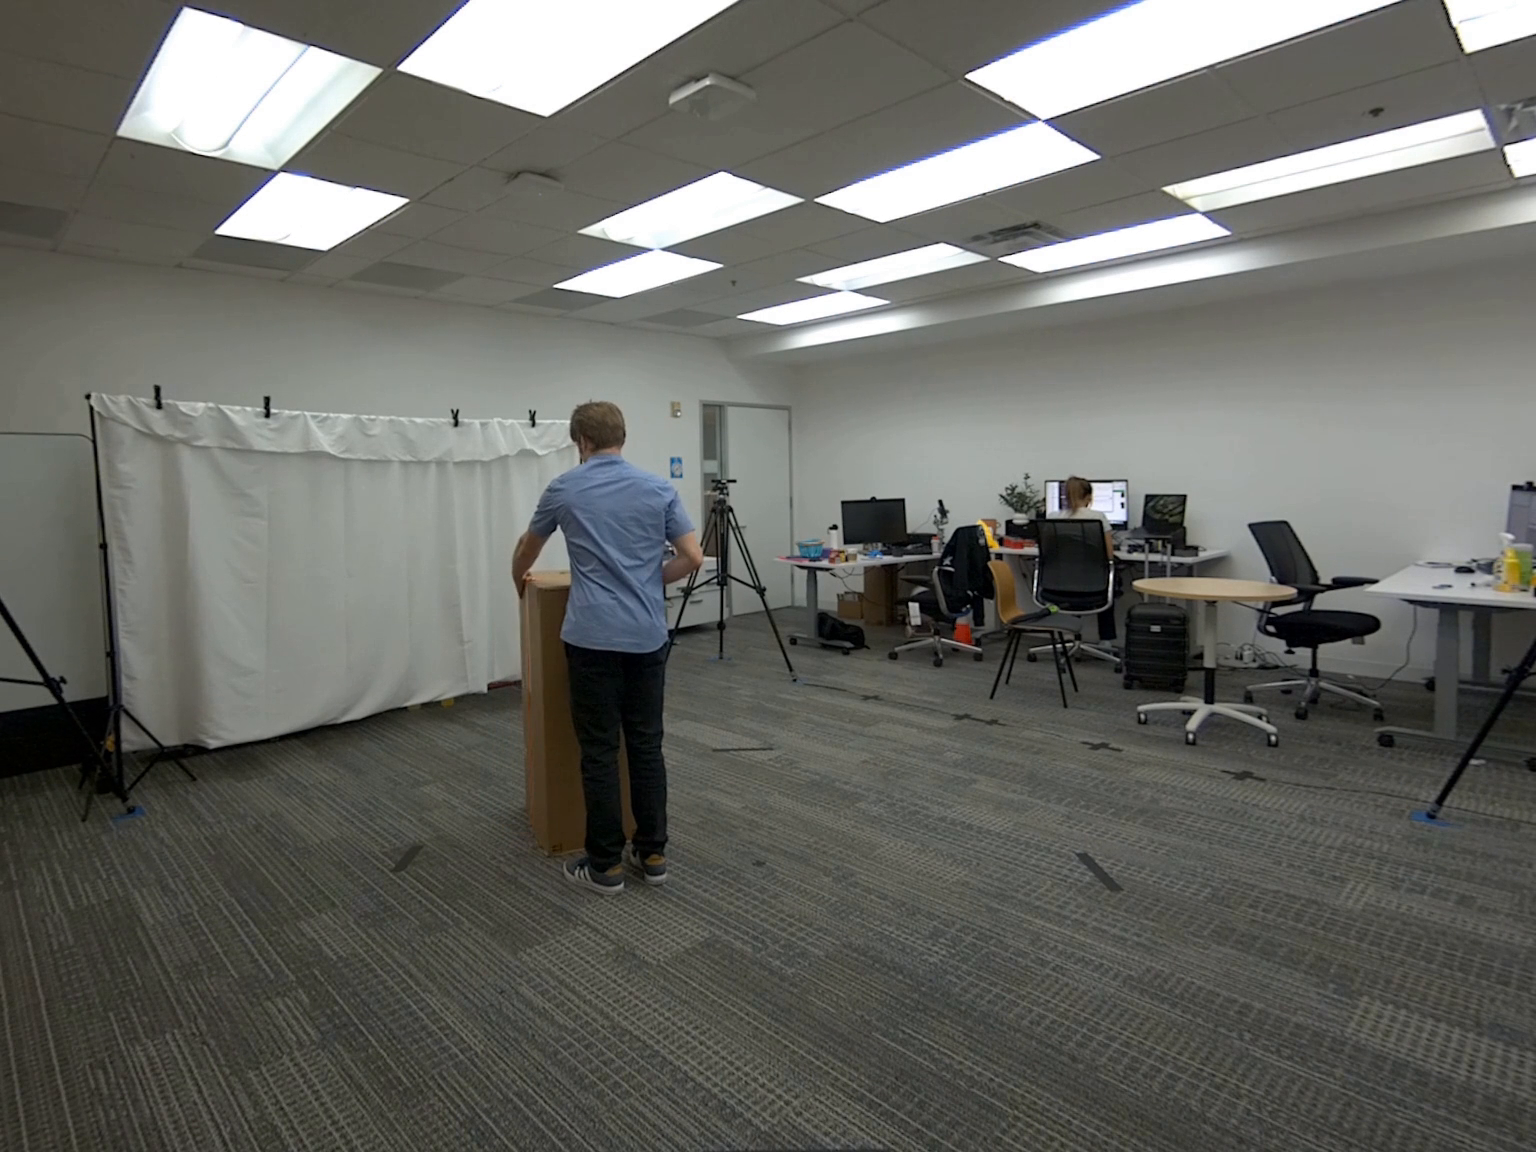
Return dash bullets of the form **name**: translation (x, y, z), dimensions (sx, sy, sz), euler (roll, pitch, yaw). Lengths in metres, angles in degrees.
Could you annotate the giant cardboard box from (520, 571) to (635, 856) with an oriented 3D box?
- **giant cardboard box**: translation (-0.764, 0.508, 3.499), dimensions (0.418, 1.022, 0.591), euler (-3, 5, -22)
